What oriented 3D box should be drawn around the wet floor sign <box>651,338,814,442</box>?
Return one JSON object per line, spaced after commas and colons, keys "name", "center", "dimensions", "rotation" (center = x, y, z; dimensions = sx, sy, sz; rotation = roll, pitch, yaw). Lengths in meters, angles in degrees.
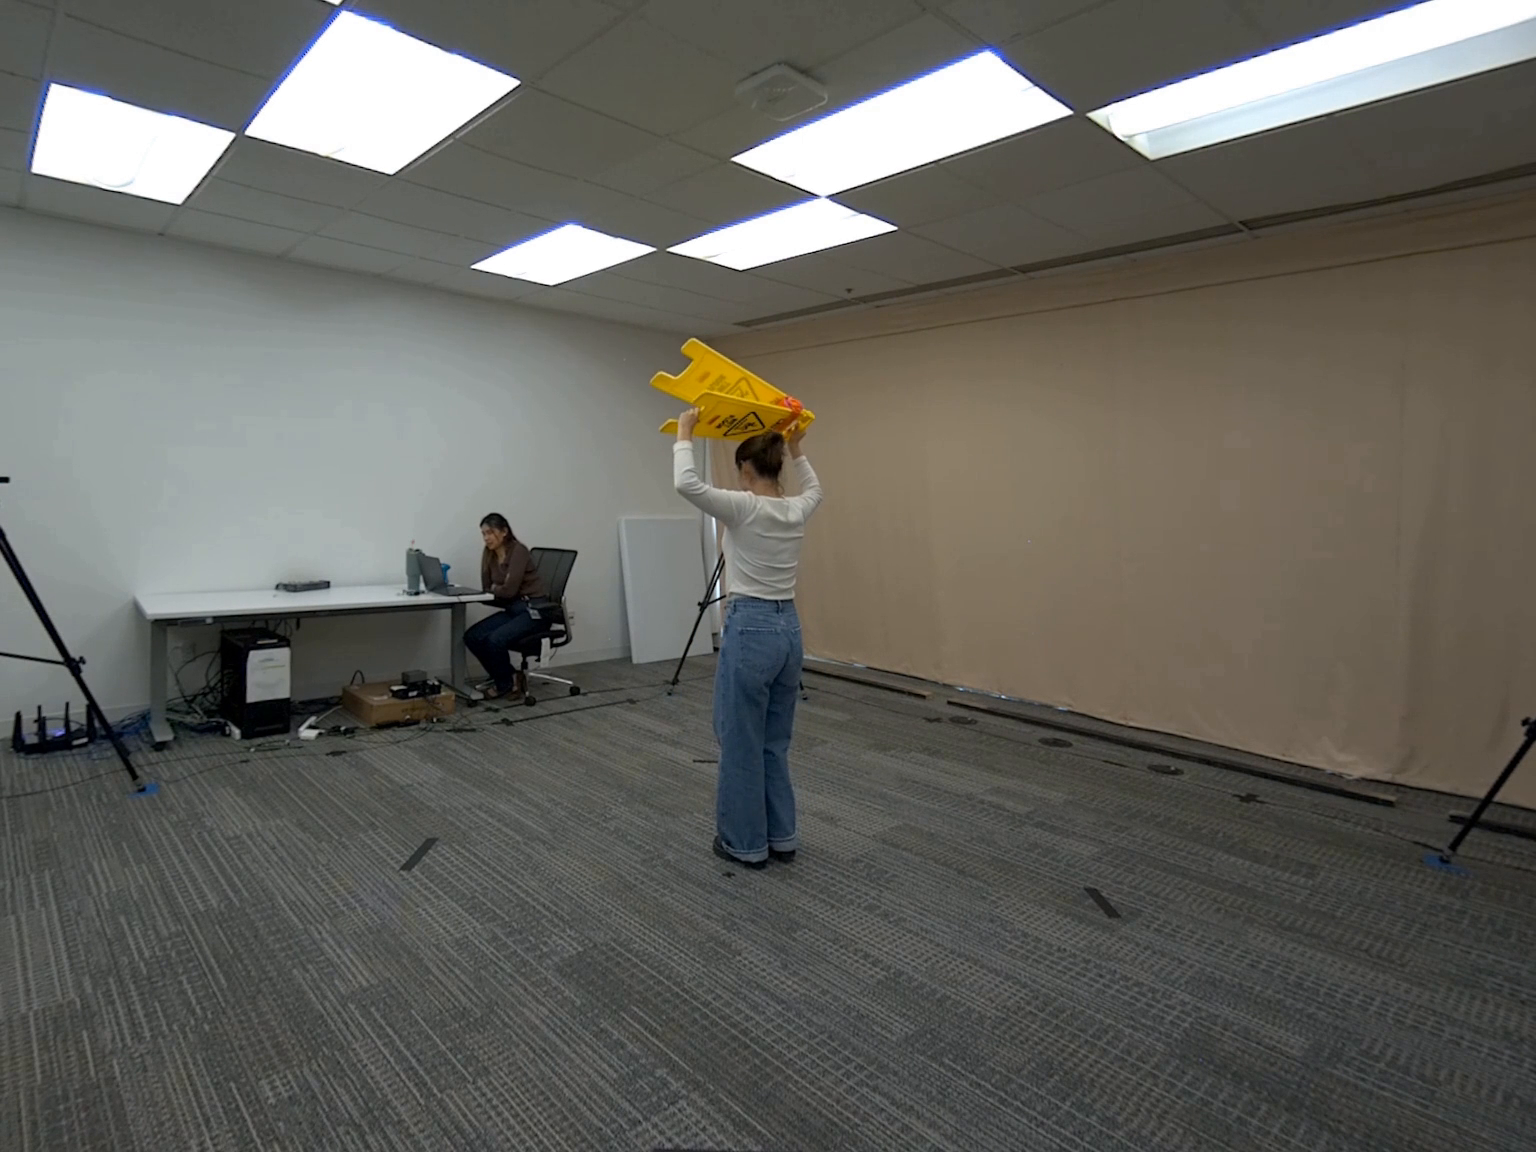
{"name": "wet floor sign", "center": [-0.108, -0.655, 3.302], "dimensions": [0.628, 0.296, 0.284], "rotation": [11, -35, -42]}
